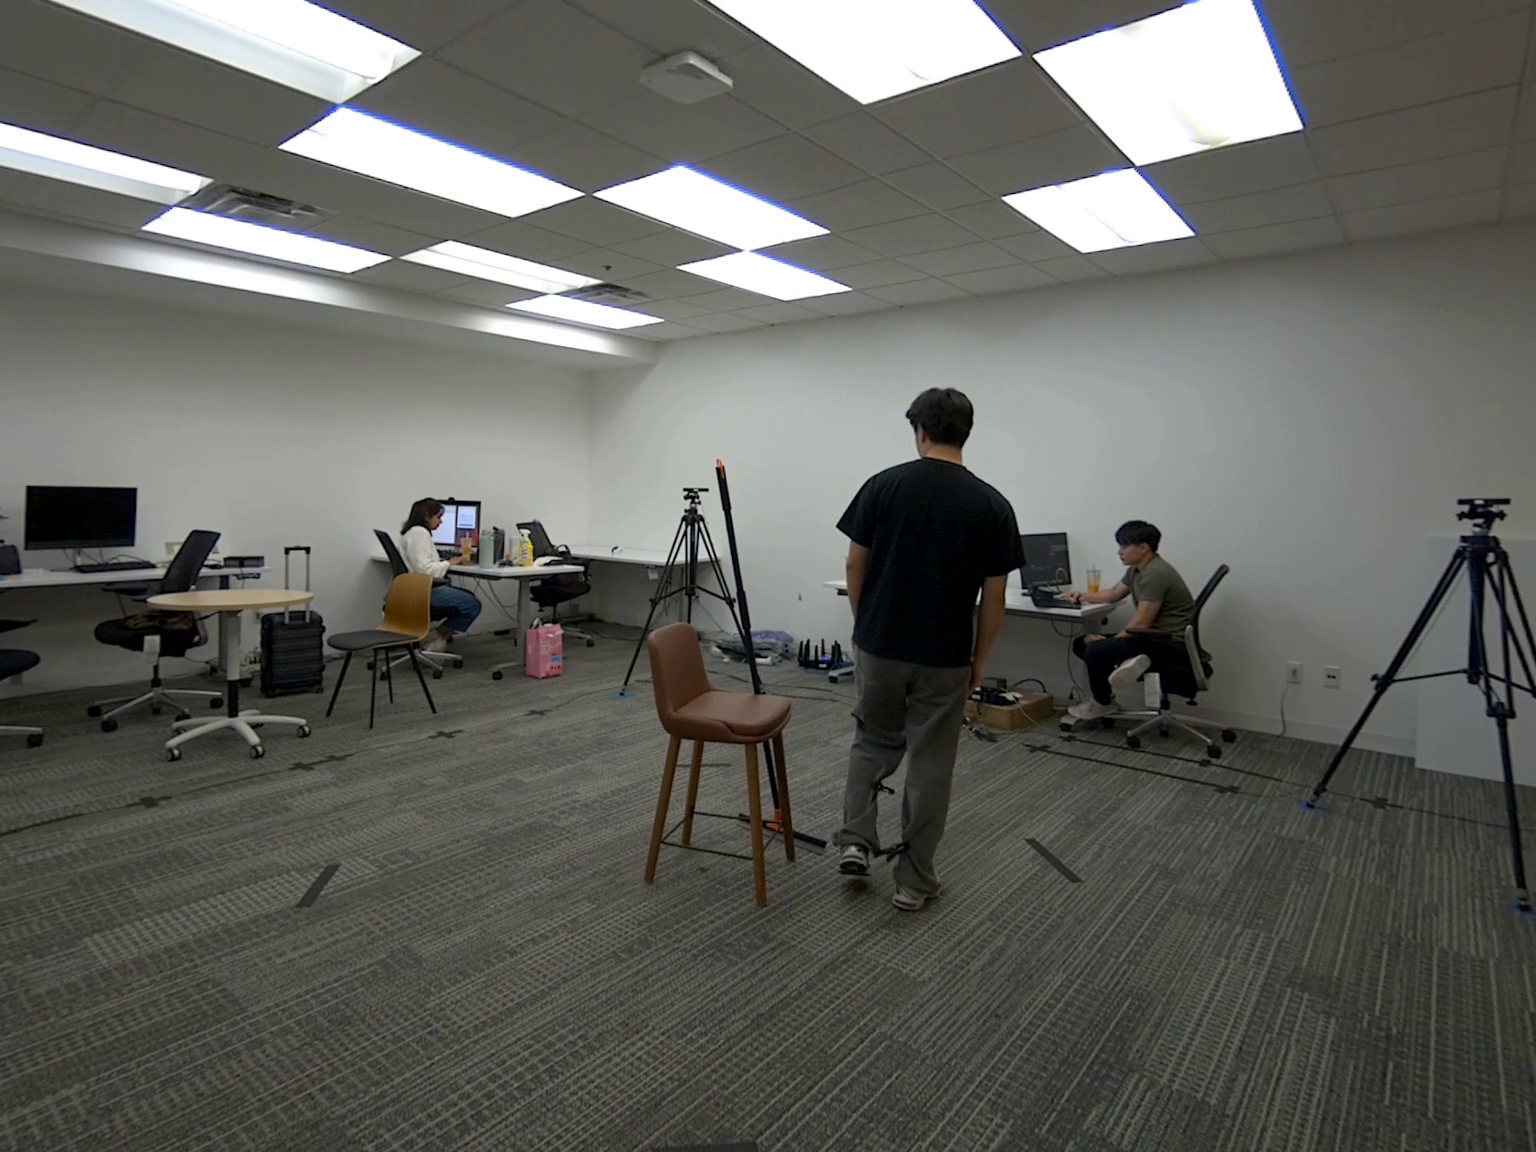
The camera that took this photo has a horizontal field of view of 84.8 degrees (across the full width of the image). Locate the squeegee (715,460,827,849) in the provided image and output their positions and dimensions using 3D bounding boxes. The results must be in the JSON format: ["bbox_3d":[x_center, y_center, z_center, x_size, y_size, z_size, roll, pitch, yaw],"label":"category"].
[{"bbox_3d":[-0.068,0.301,3.243,0.452,1.518,0.052,3,16,46],"label":"squeegee"}]
